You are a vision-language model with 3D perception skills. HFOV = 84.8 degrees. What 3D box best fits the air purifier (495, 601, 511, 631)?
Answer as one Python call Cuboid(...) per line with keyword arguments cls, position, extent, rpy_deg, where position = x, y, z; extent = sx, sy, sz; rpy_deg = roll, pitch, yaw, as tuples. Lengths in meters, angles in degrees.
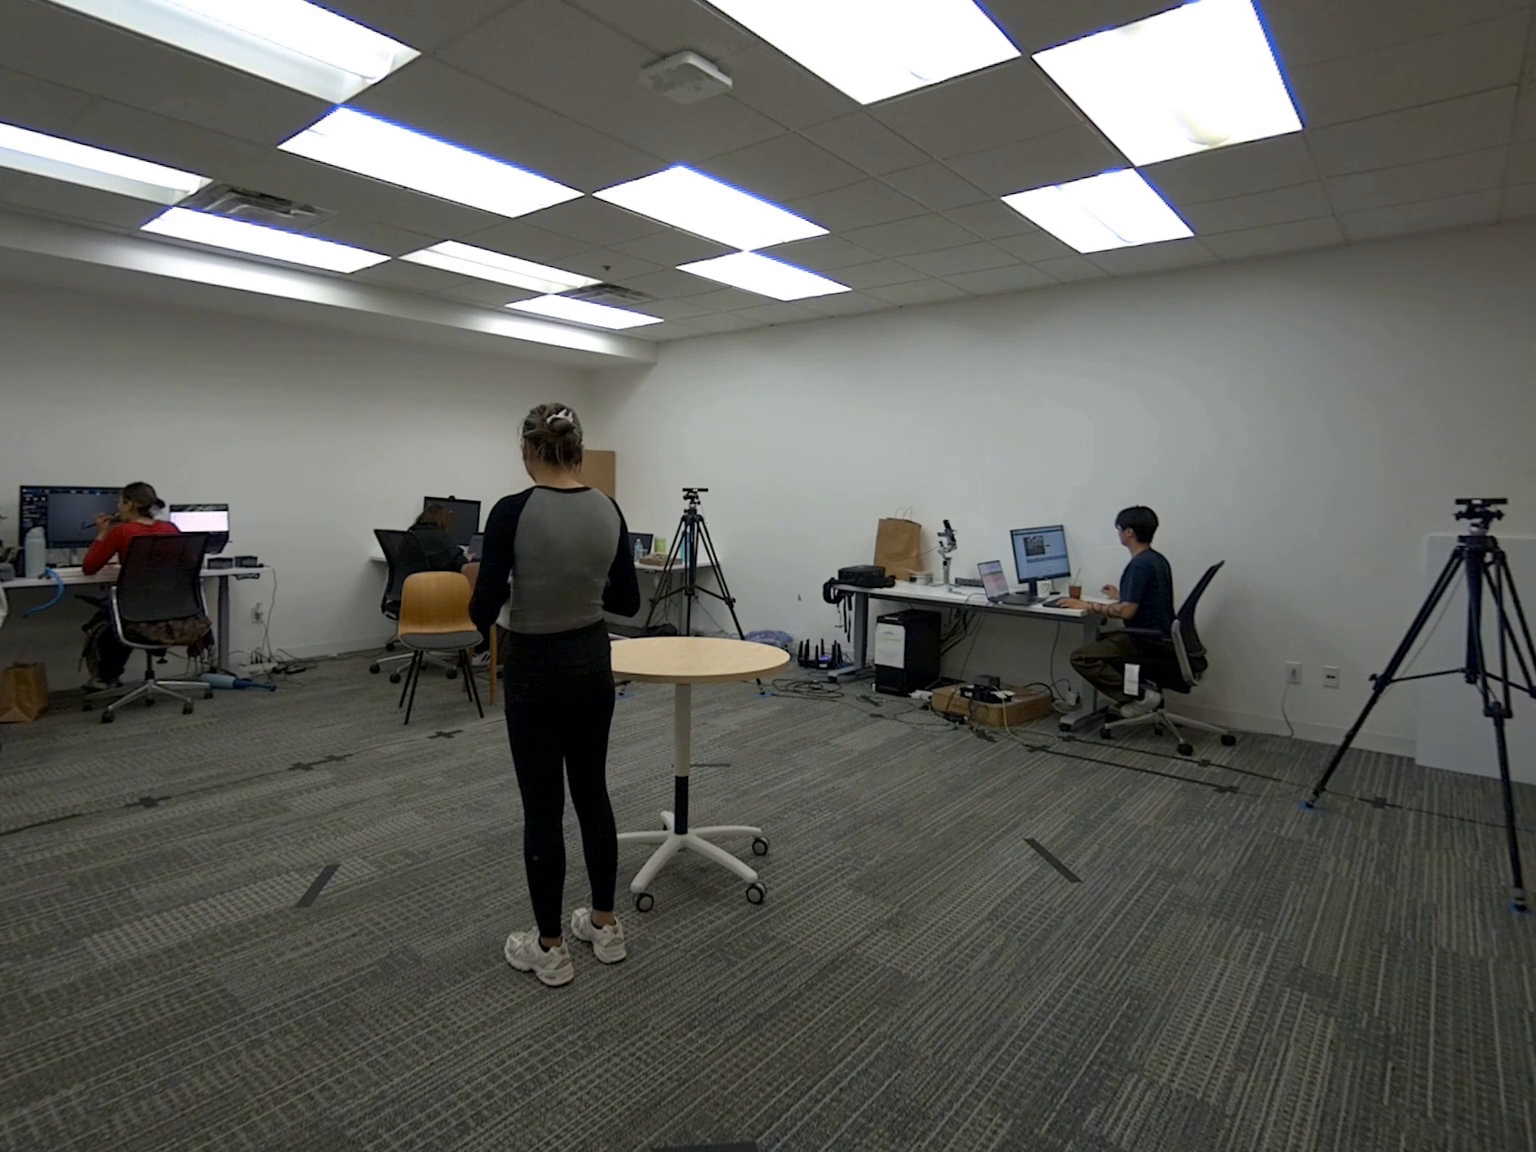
Cuboid(cls="air purifier", position=(-0.746, 0.020, 2.574), extent=(0.166, 0.263, 0.178), rpy_deg=(-1, 12, -38))
